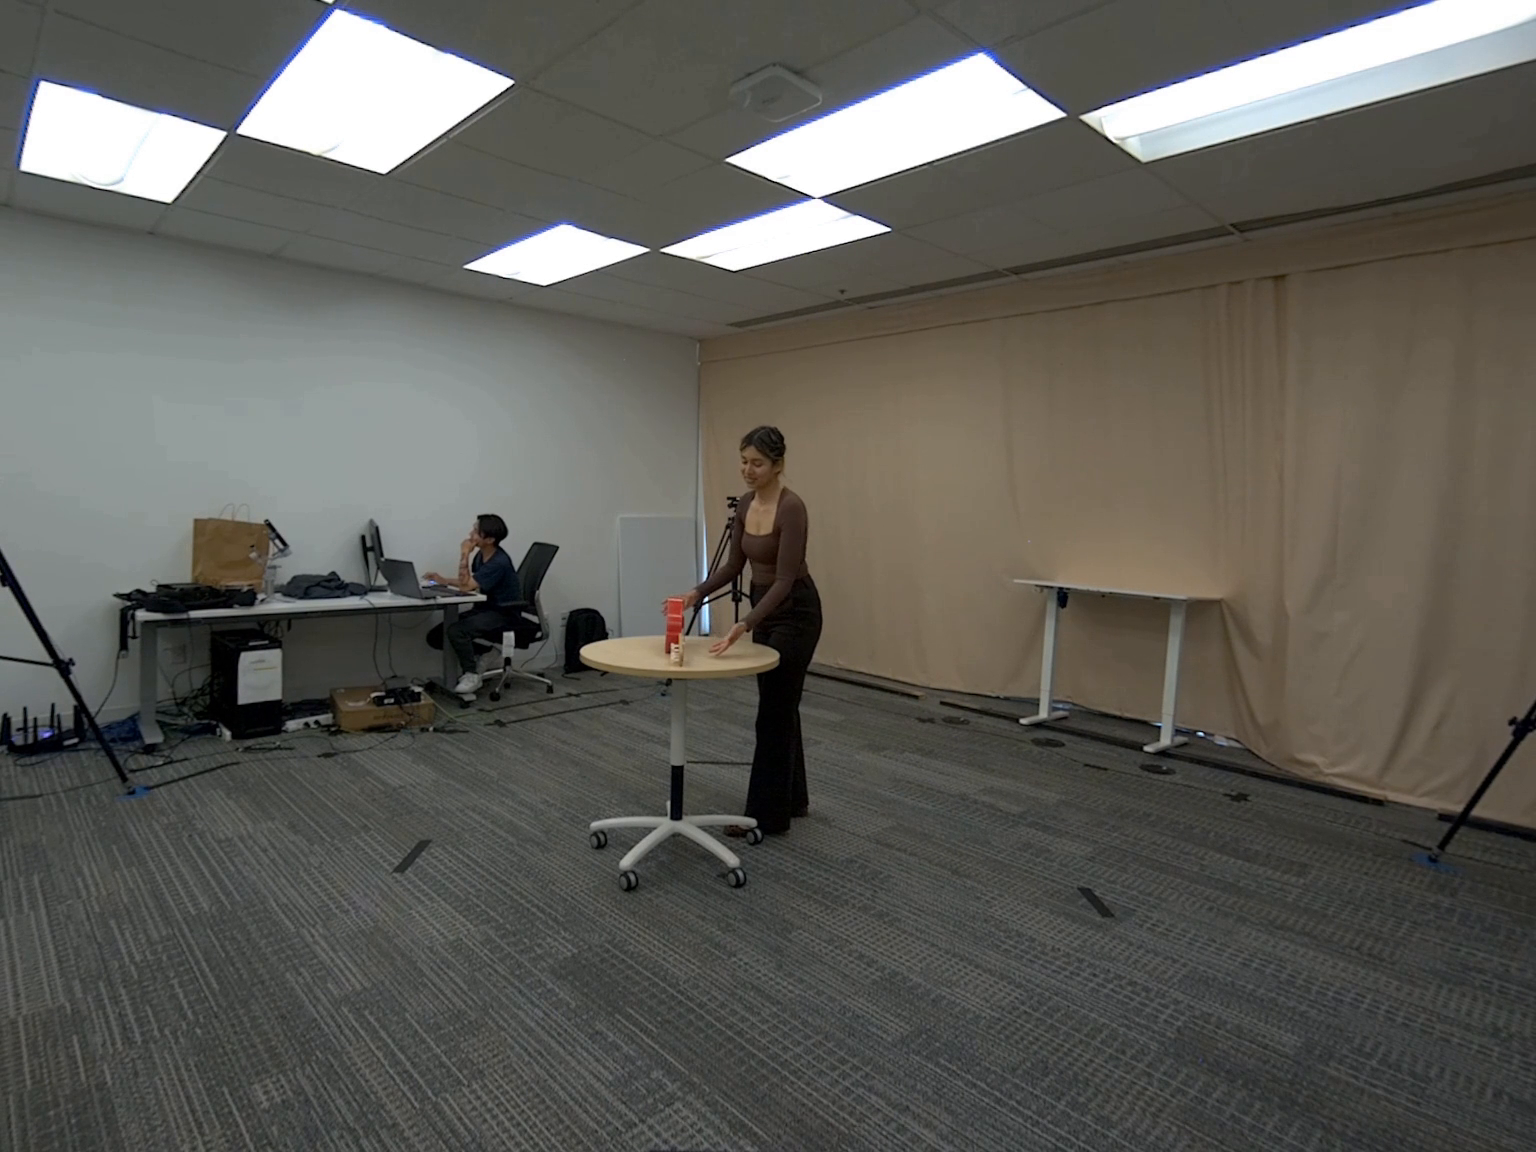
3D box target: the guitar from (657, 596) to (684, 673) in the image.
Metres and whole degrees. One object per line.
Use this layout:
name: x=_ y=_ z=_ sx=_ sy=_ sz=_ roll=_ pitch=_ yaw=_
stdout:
guitar: x=-0.365 y=0.207 z=3.172 sx=0.070 sy=0.192 sz=0.501 roll=5 pitch=5 yaw=-6
